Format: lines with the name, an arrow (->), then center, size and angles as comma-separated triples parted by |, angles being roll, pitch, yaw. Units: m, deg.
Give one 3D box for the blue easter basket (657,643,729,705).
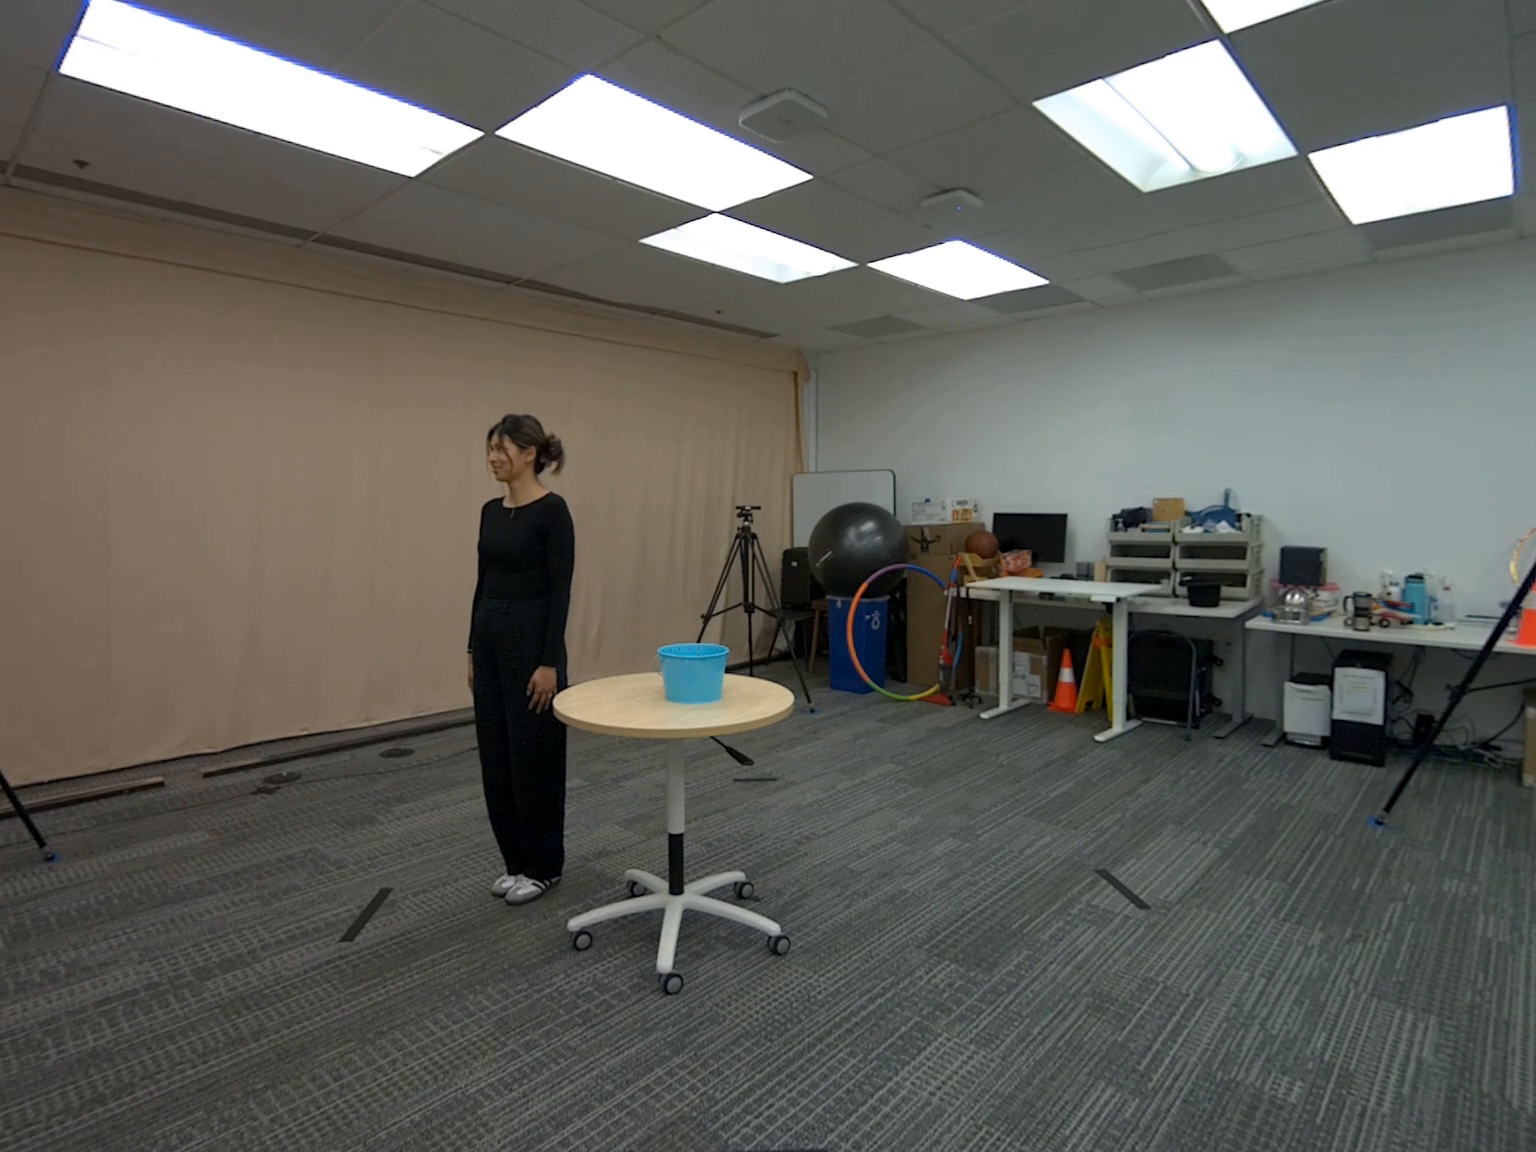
blue easter basket -> -0.234, 0.317, 2.683 | 0.243, 0.155, 0.244 | -1, 5, -2
